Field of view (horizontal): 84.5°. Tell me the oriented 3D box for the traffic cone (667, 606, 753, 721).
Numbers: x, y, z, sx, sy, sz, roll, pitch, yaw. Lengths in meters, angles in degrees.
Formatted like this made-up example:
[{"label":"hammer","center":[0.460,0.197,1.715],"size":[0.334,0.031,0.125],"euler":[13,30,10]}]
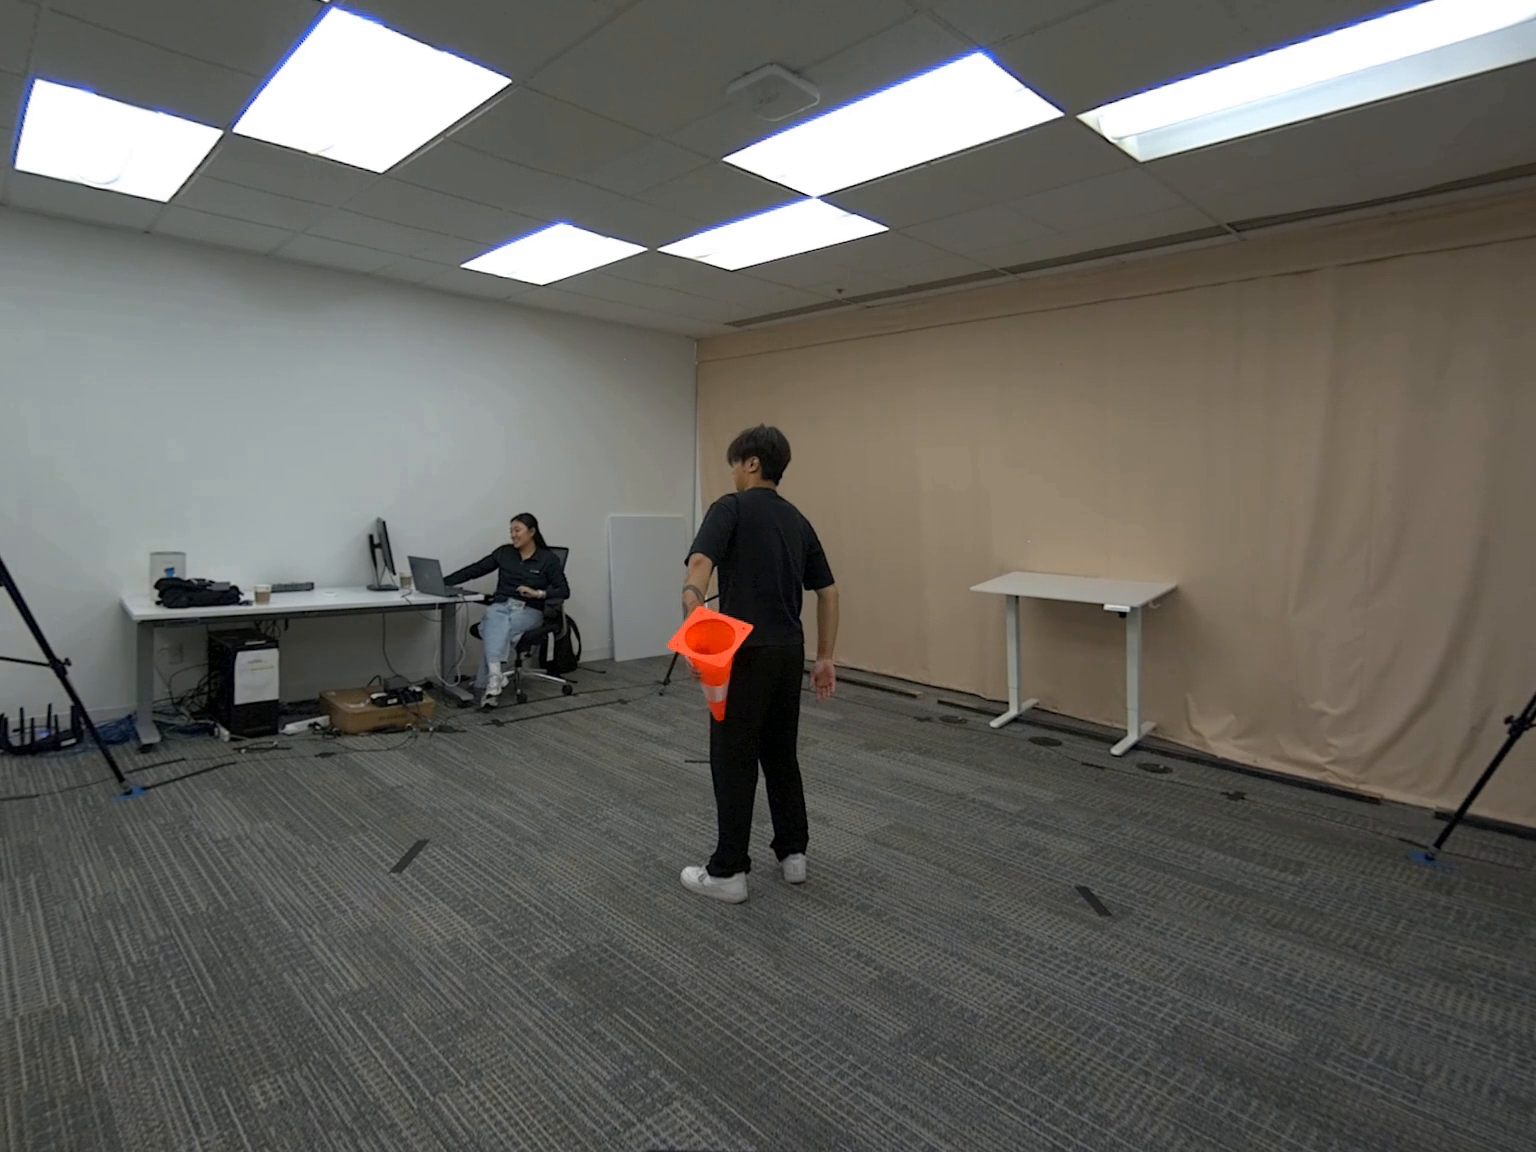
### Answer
[{"label":"traffic cone","center":[-0.180,0.330,2.648],"size":[0.208,0.375,0.204],"euler":[21,45,27]}]
